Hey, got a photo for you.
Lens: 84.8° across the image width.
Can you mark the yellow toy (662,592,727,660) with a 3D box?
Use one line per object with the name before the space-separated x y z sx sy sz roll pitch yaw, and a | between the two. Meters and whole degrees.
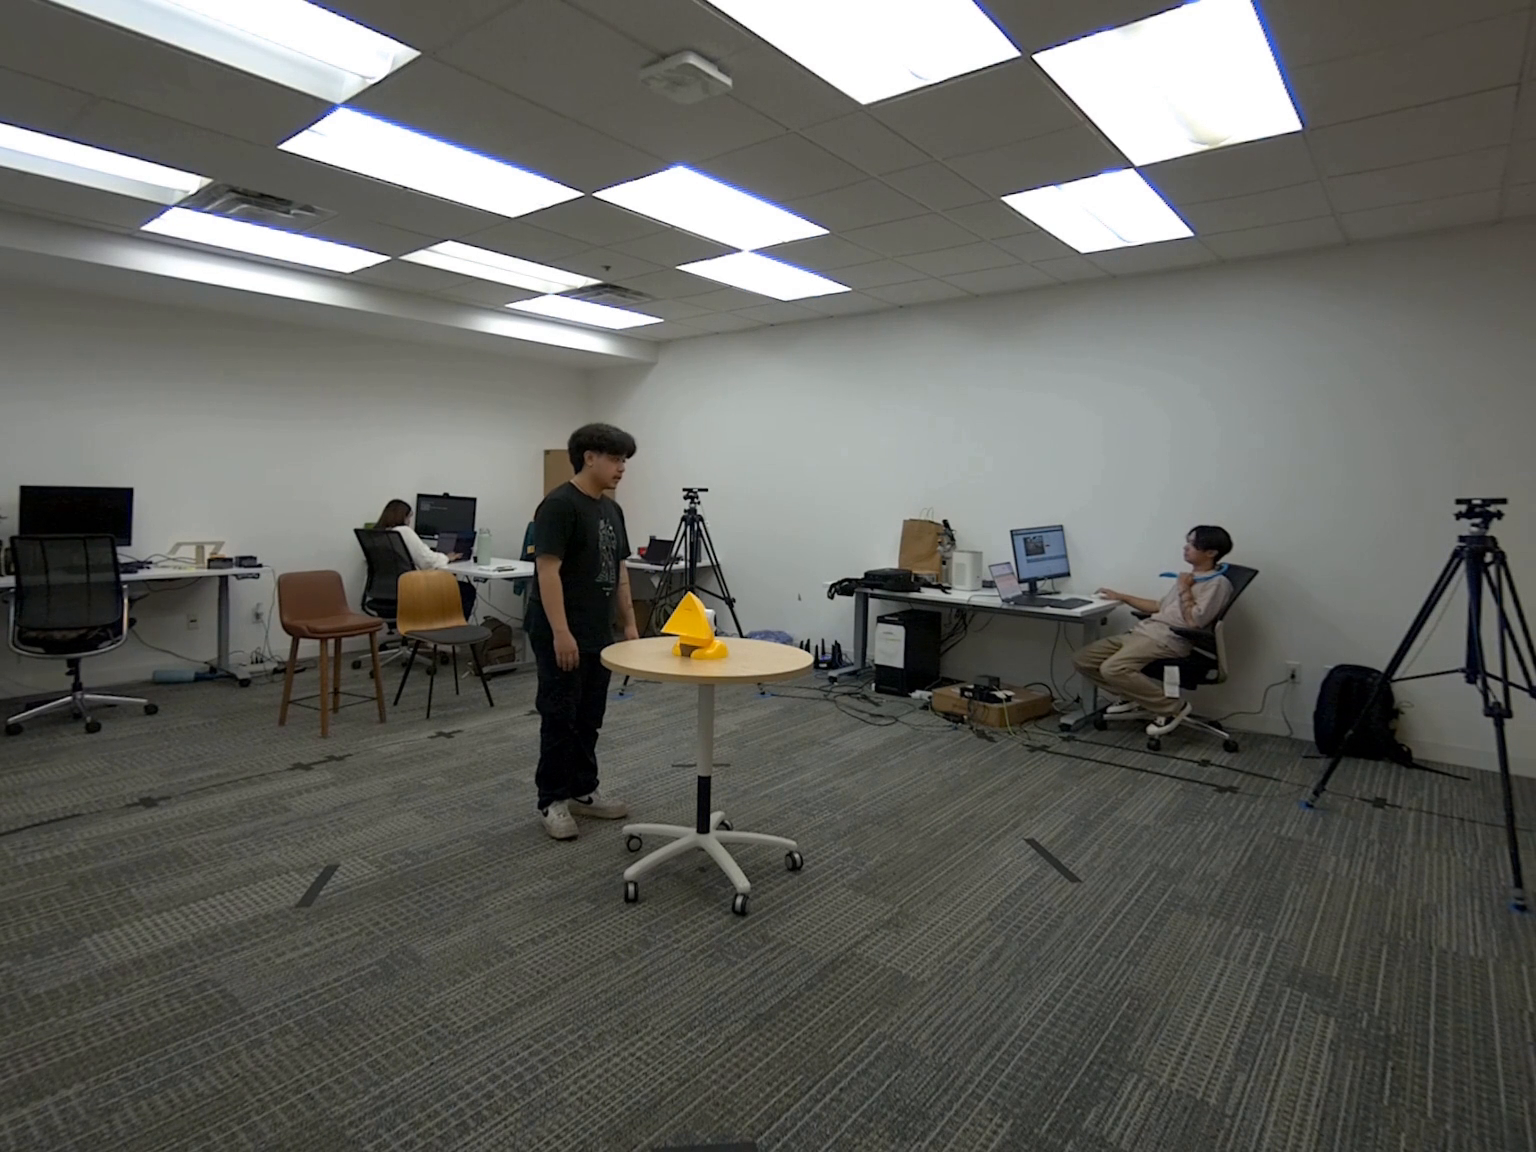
yellow toy | -0.257 0.166 3.060 0.211 0.230 0.187 4 3 37
